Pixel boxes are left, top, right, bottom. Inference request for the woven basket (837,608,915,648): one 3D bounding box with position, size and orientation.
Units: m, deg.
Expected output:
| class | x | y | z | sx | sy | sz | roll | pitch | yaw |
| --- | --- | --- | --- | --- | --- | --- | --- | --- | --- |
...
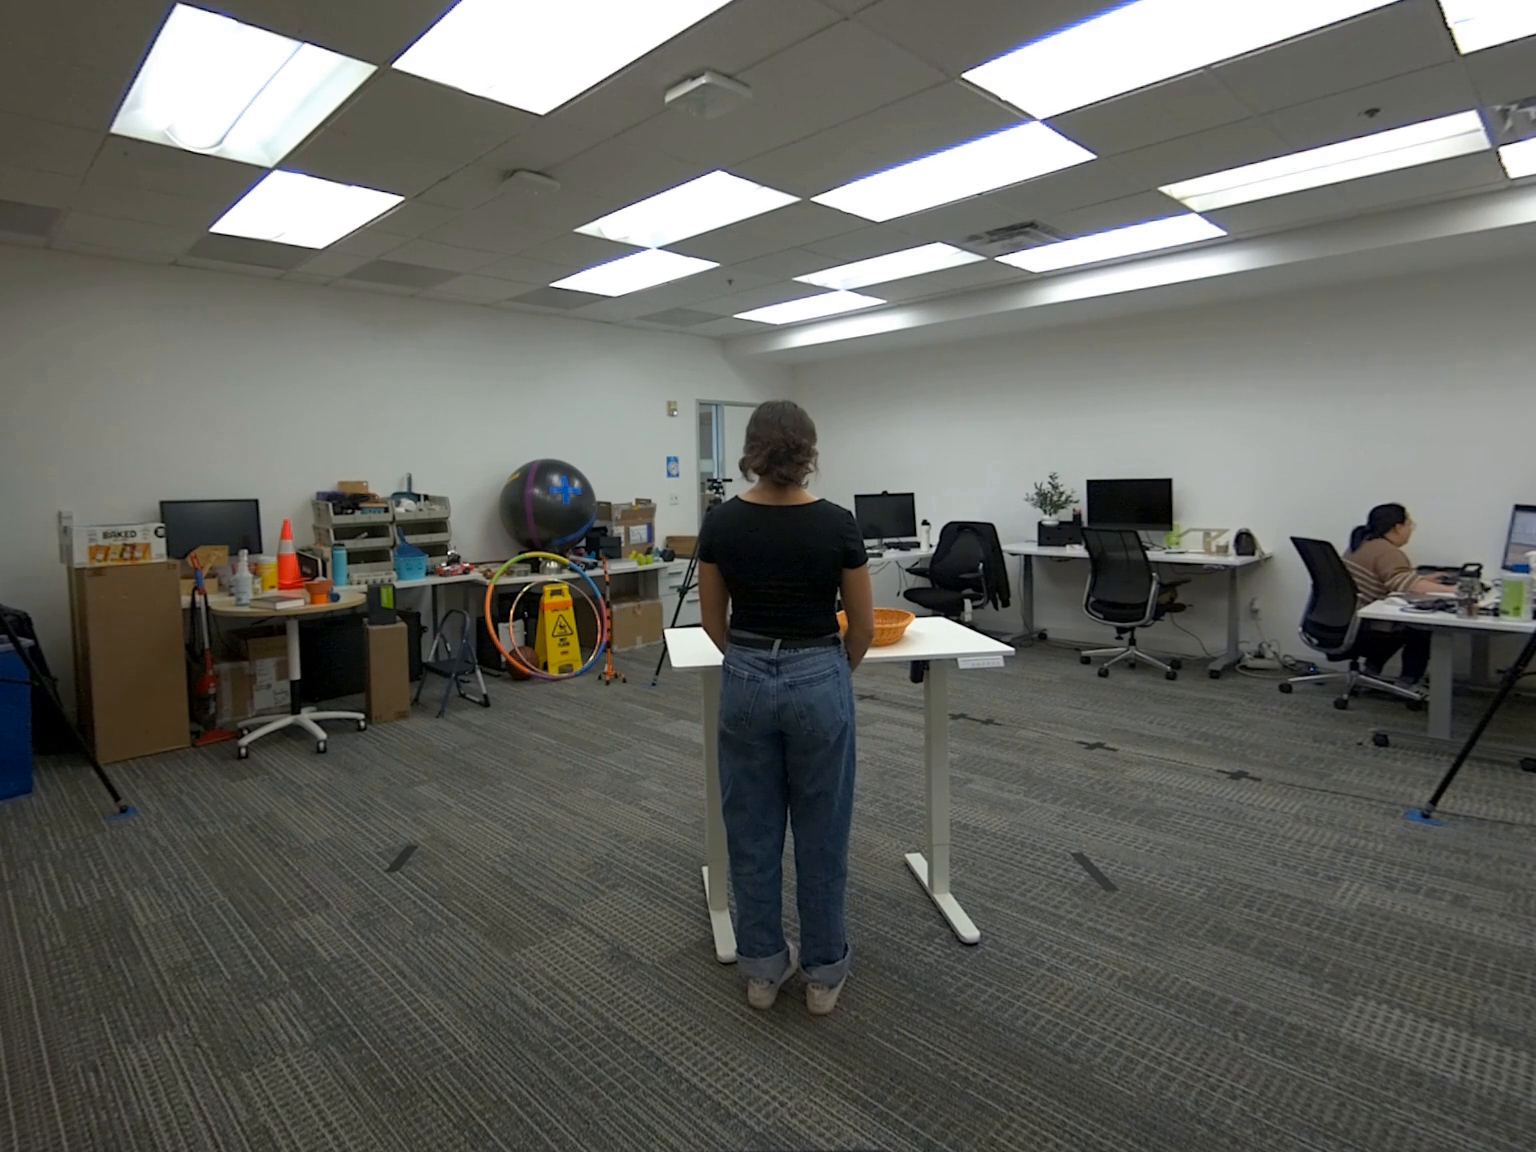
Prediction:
| class | x | y | z | sx | sy | sz | roll | pitch | yaw |
| --- | --- | --- | --- | --- | --- | --- | --- | --- | --- |
| woven basket | 0.353 | 0.171 | 2.707 | 0.256 | 0.073 | 0.347 | 1 | 7 | 15 |
